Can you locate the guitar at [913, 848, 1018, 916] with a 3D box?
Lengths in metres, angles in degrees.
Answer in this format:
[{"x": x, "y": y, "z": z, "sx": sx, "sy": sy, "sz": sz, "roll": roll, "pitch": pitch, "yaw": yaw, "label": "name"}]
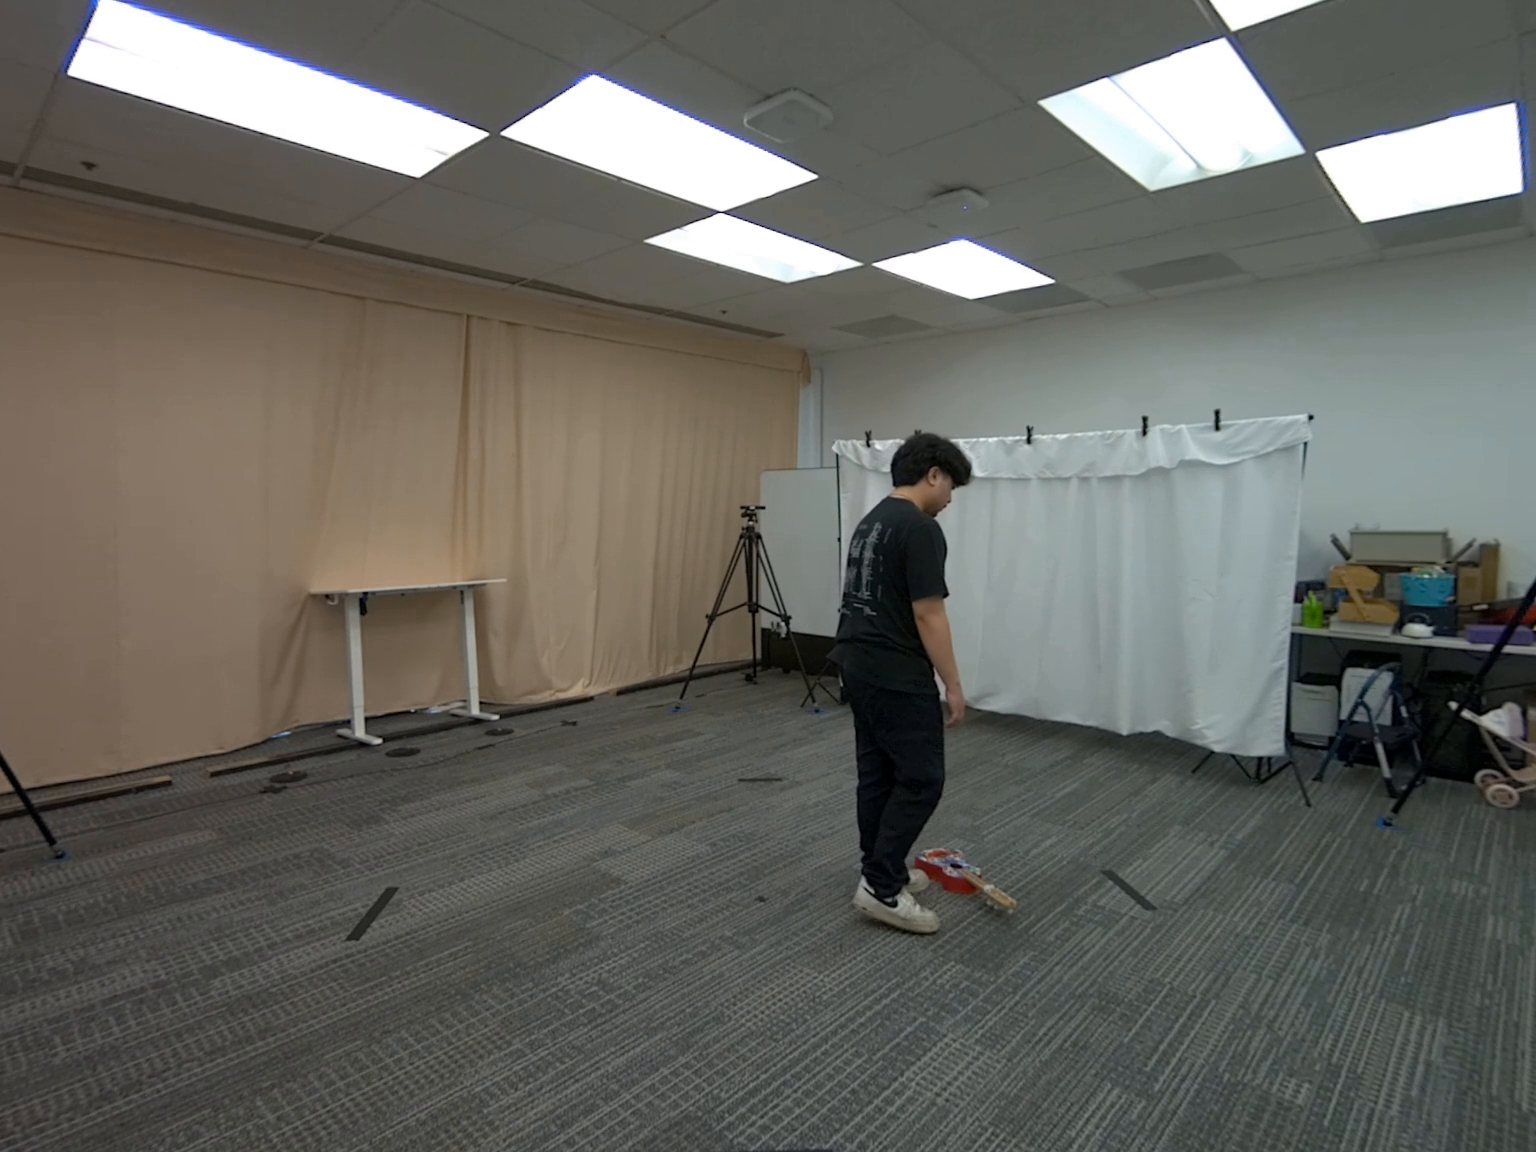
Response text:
[{"x": 0.700, "y": 1.101, "z": 3.035, "sx": 0.191, "sy": 0.070, "sz": 0.504, "roll": 0, "pitch": 4, "yaw": -12, "label": "guitar"}]
